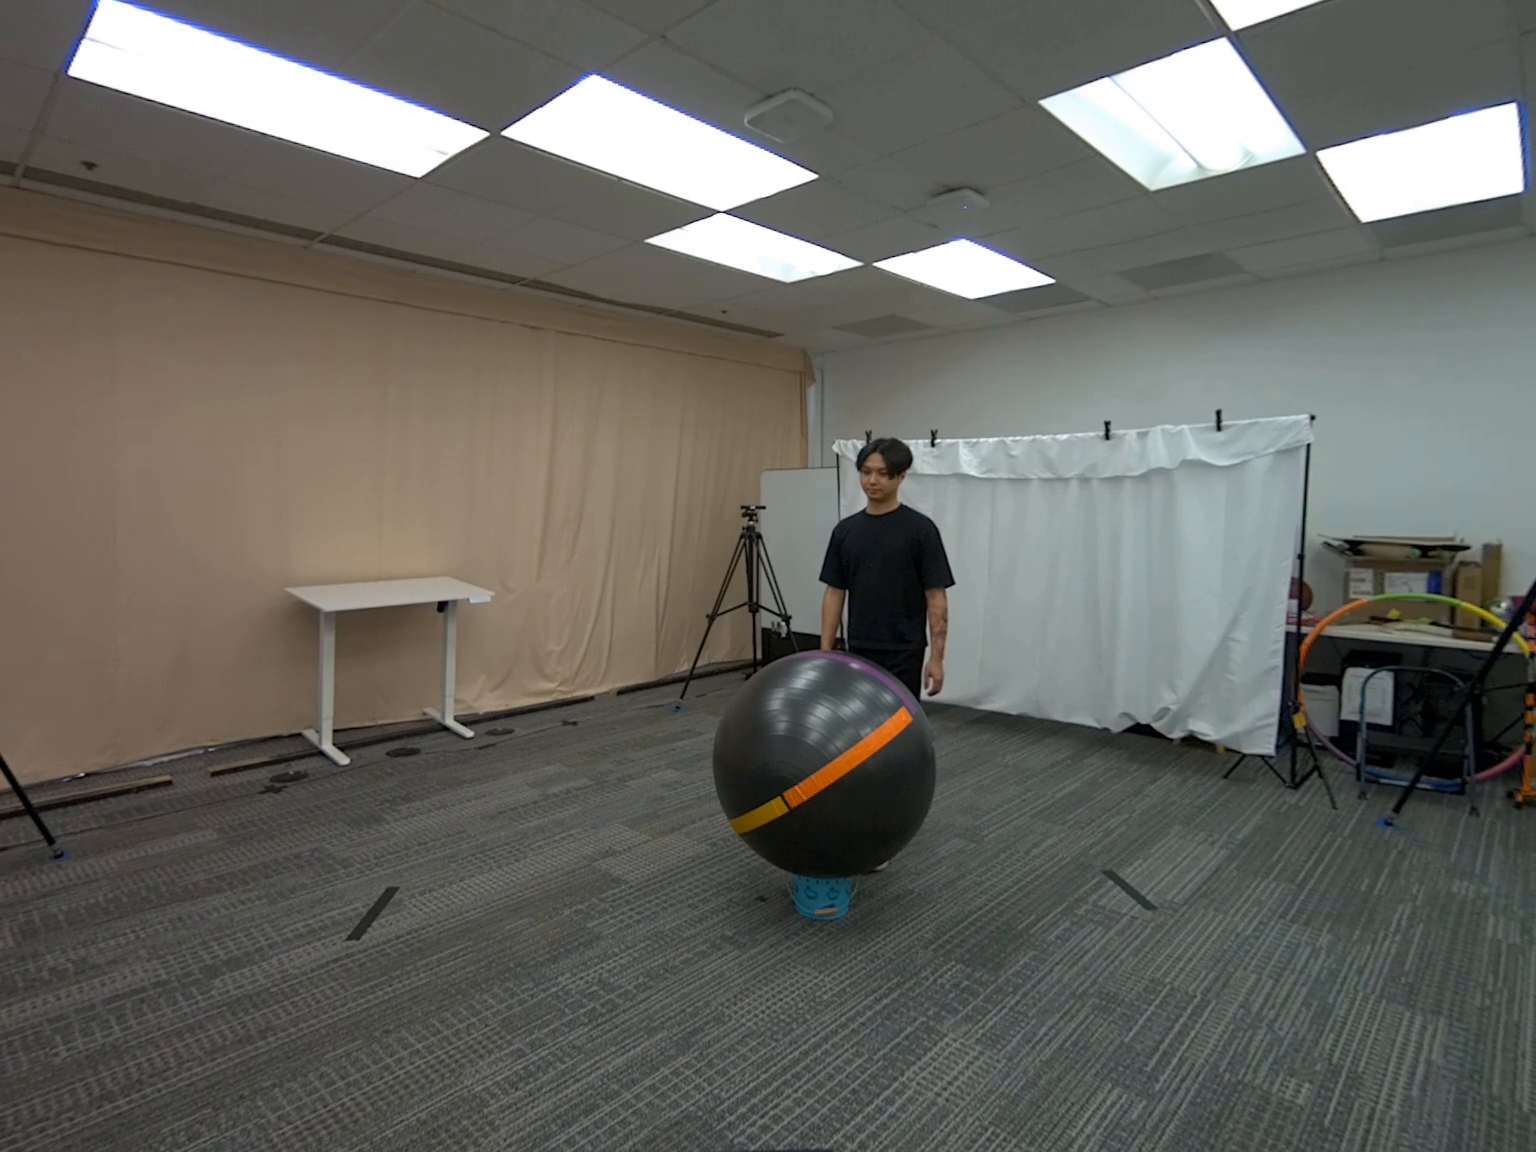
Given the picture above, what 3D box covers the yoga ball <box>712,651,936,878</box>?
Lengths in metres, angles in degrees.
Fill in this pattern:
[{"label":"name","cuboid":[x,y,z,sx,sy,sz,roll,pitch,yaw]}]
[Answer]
[{"label":"yoga ball","cuboid":[0.191,0.641,2.893,0.757,0.756,0.761,0,4,-2]}]
